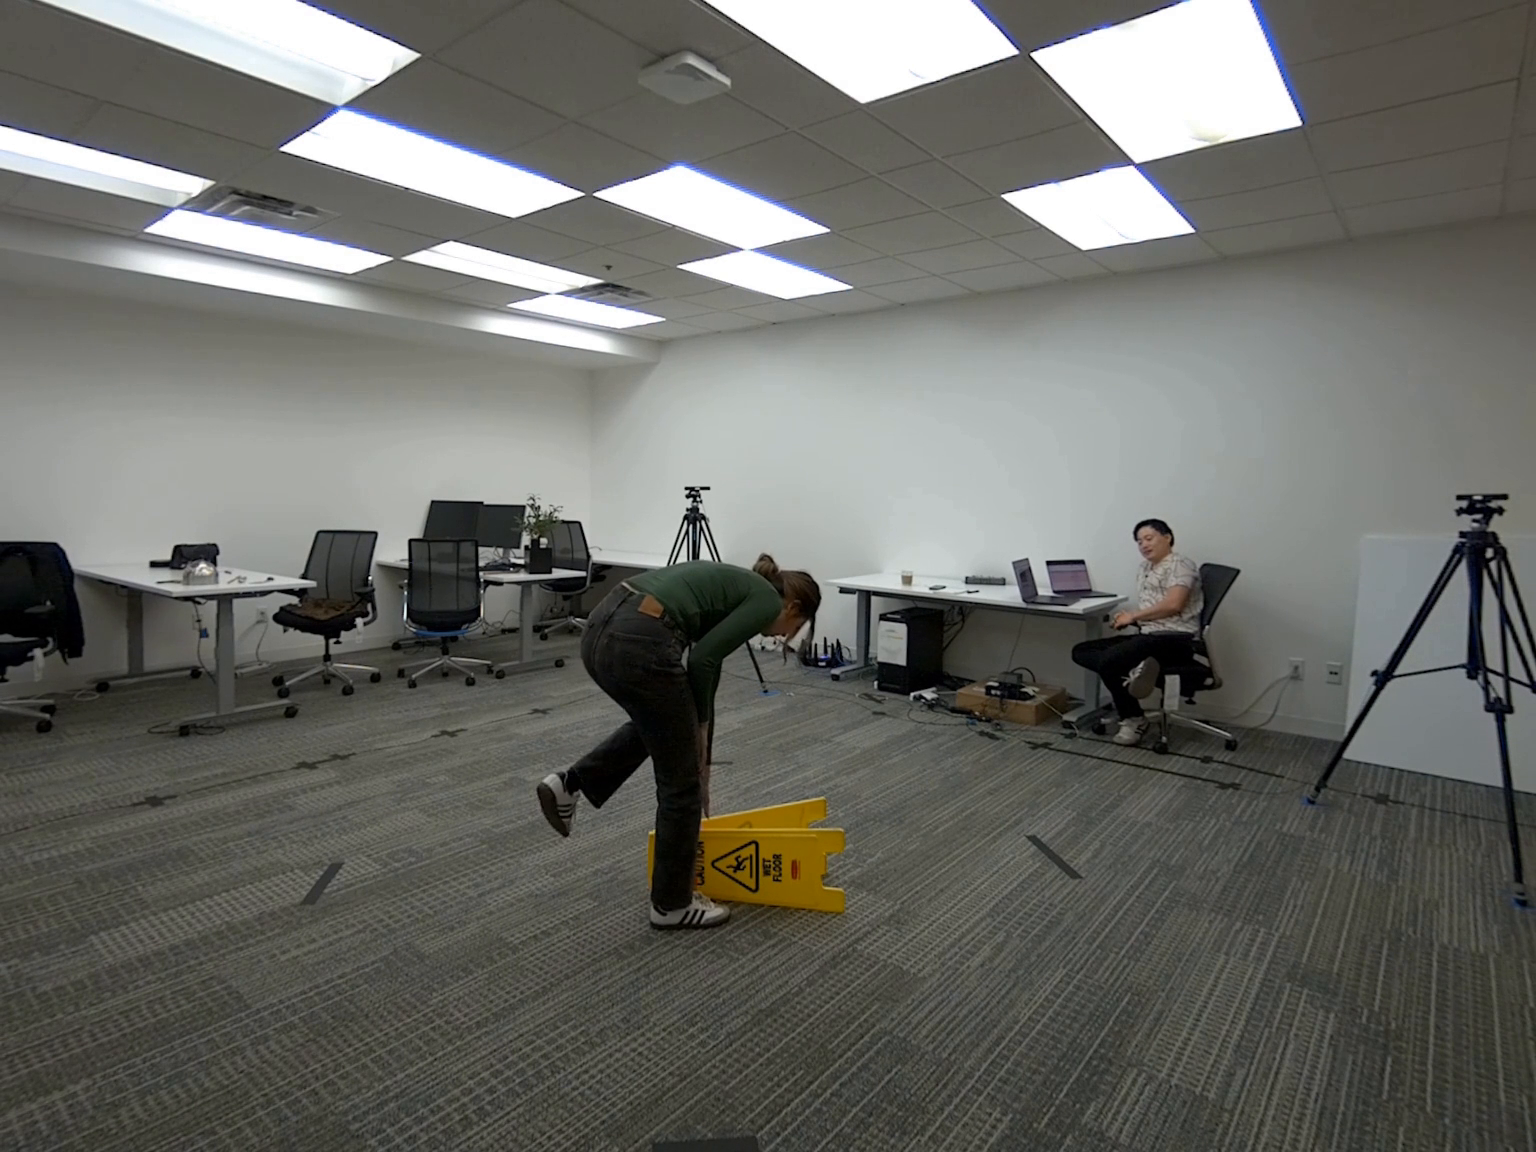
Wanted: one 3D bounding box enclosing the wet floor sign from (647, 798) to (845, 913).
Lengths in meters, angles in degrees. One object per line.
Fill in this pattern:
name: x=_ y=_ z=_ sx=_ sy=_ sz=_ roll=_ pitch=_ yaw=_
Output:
wet floor sign: x=-0.097 y=0.953 z=2.910 sx=0.643 sy=0.281 sz=0.292 roll=-2 pitch=5 yaw=-5
